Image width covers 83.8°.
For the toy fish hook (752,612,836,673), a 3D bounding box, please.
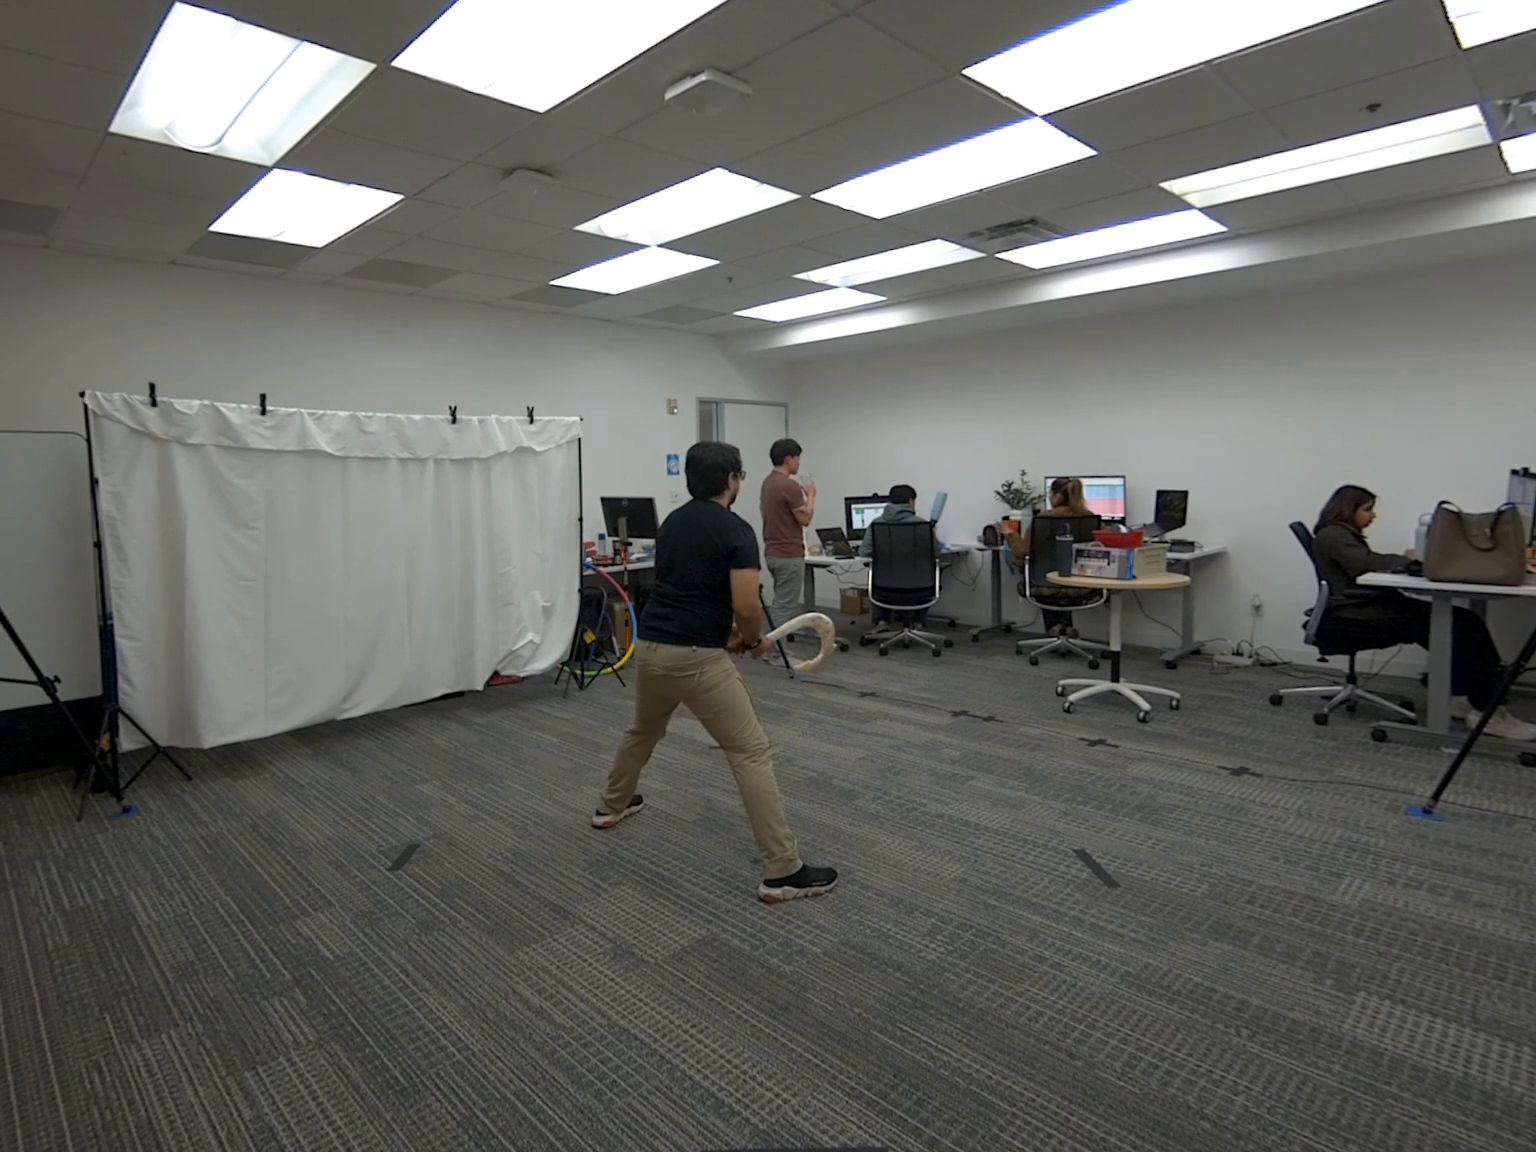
[{"bbox_3d":[0.049,0.290,3.325,0.498,0.223,0.049,-11,7,-22],"label":"toy fish hook"}]
